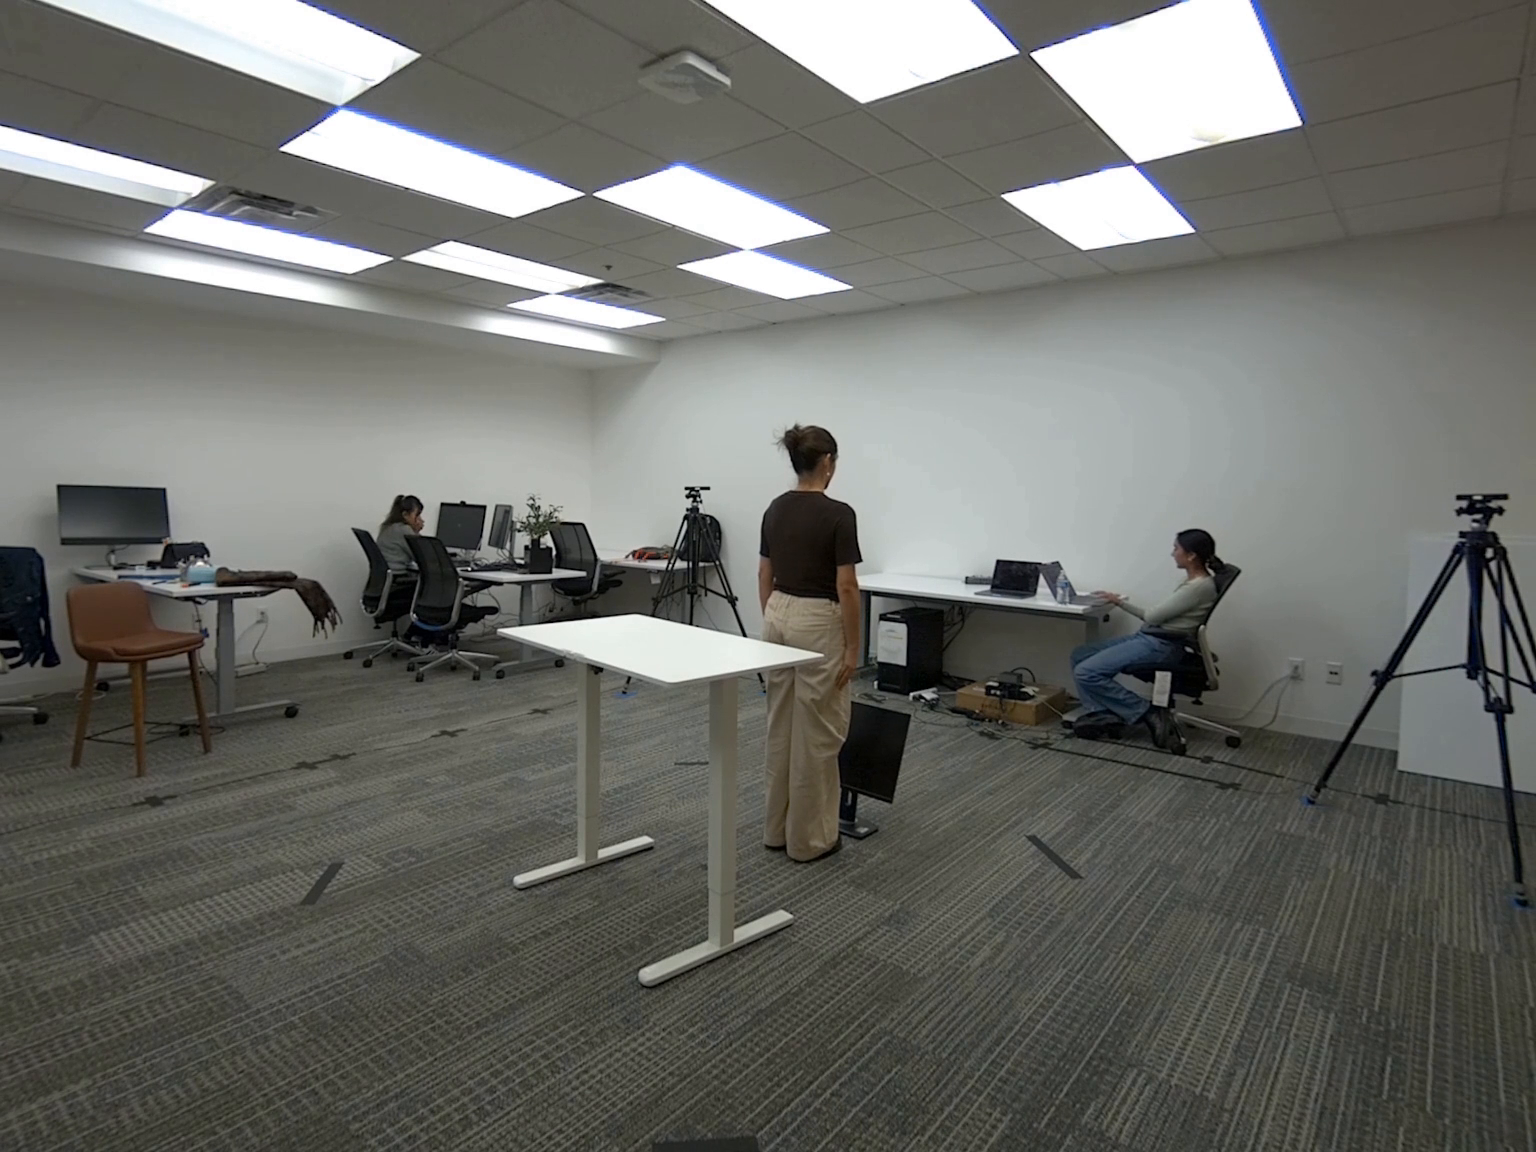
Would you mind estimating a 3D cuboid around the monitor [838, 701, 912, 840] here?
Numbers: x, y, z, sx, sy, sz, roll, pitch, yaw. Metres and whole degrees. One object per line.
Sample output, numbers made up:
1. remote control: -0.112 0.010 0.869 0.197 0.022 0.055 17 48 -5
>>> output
1. monitor: 0.326 0.779 3.537 0.557 0.523 0.181 6 0 39
